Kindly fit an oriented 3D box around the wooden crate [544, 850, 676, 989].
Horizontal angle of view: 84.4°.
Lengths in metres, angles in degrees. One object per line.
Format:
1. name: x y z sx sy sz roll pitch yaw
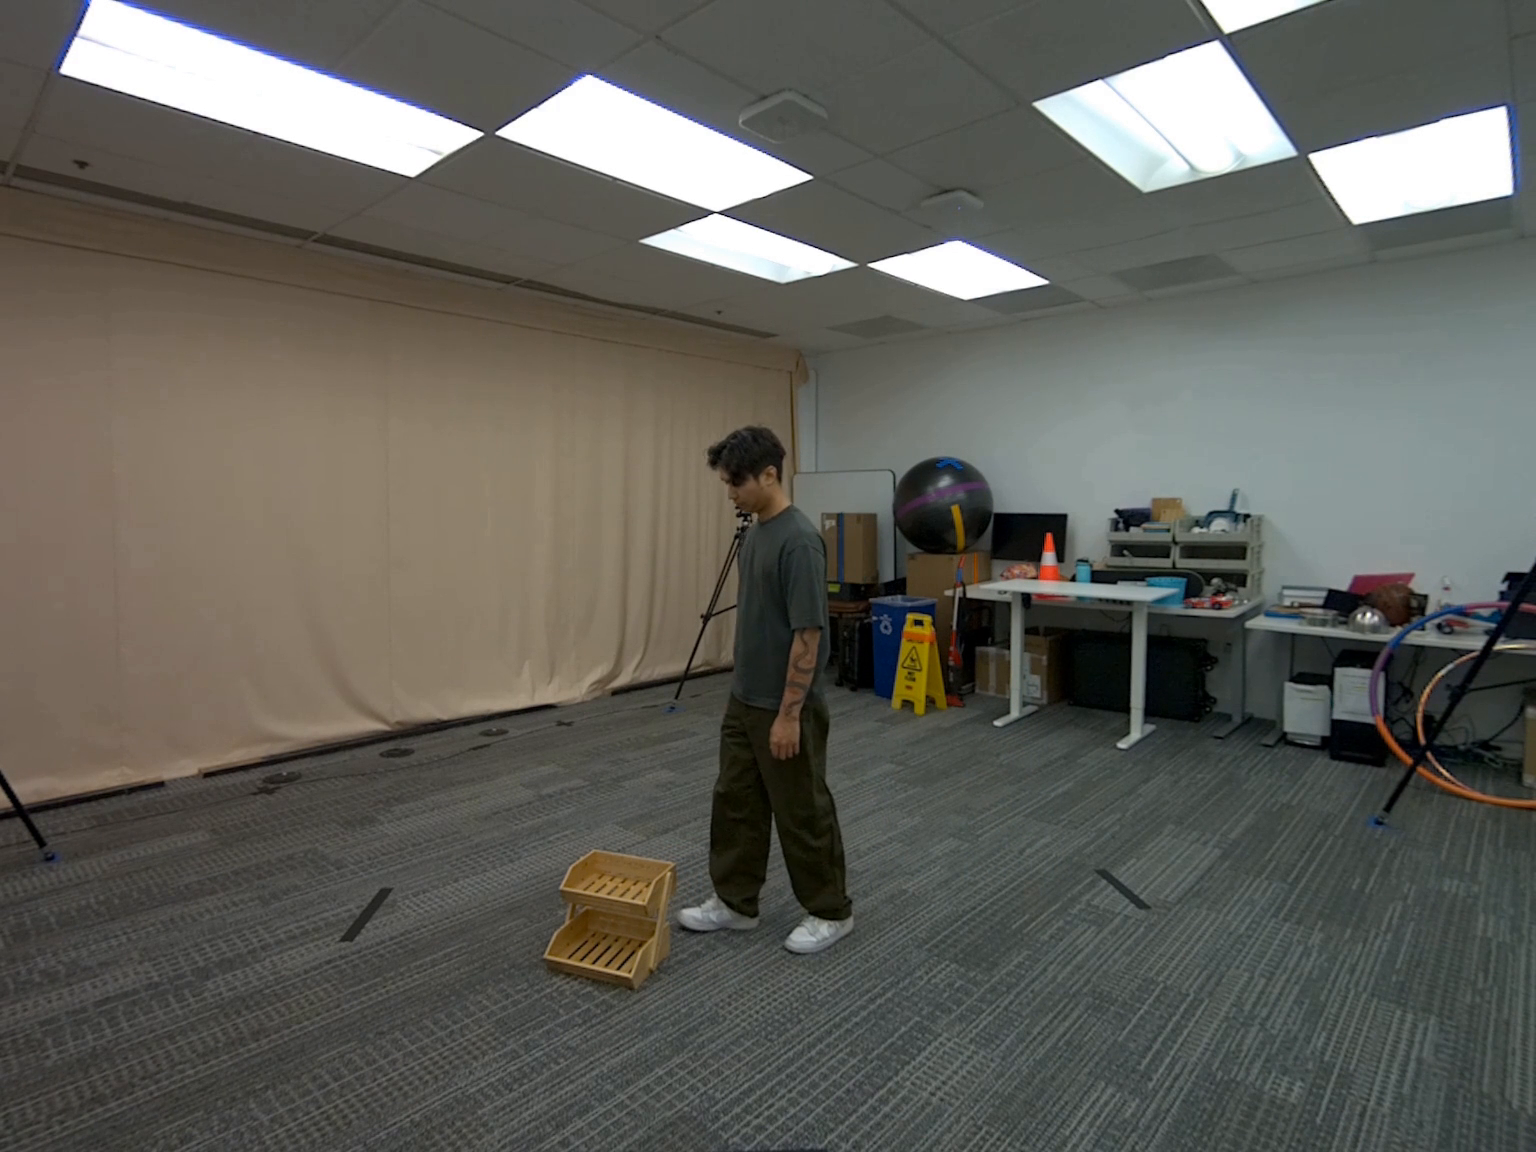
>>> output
1. wooden crate: -0.479 1.056 2.583 0.331 0.273 0.296 1 3 20
